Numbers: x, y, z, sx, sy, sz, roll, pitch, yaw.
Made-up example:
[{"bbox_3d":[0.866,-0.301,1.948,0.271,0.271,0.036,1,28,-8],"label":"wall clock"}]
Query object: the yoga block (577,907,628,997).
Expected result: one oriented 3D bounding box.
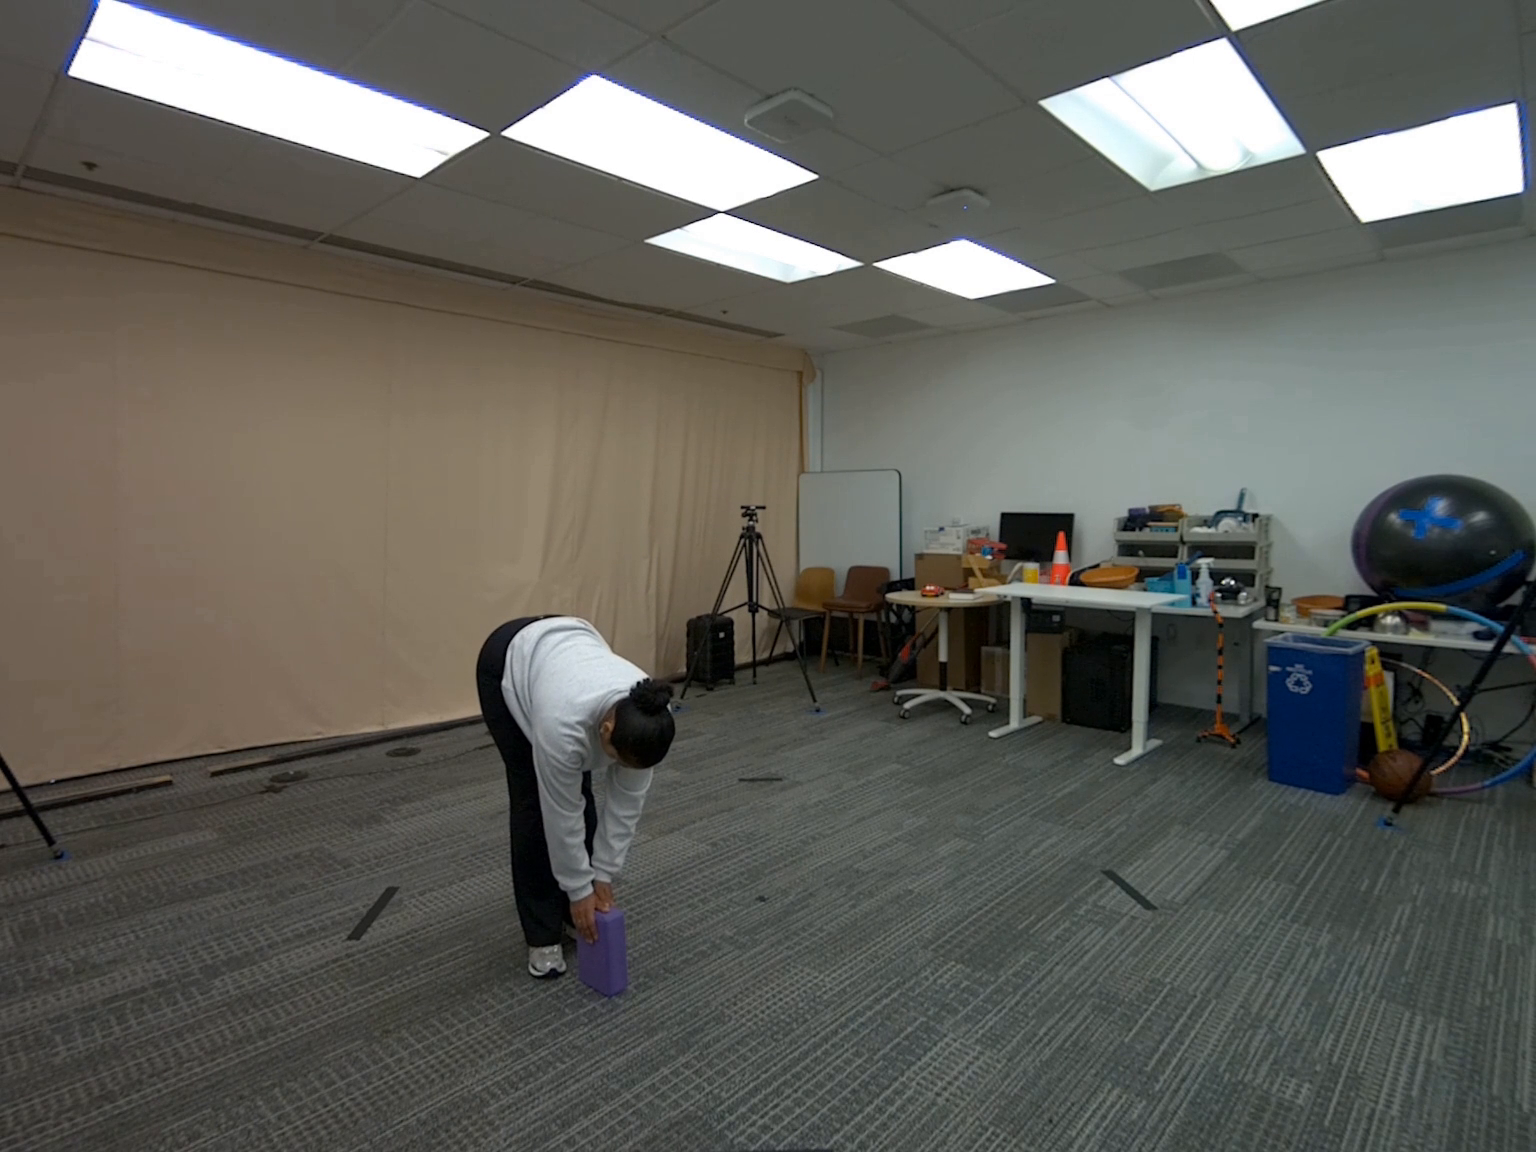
[{"bbox_3d":[-0.483,1.078,2.444,0.154,0.229,0.074,2,5,42],"label":"yoga block"}]
